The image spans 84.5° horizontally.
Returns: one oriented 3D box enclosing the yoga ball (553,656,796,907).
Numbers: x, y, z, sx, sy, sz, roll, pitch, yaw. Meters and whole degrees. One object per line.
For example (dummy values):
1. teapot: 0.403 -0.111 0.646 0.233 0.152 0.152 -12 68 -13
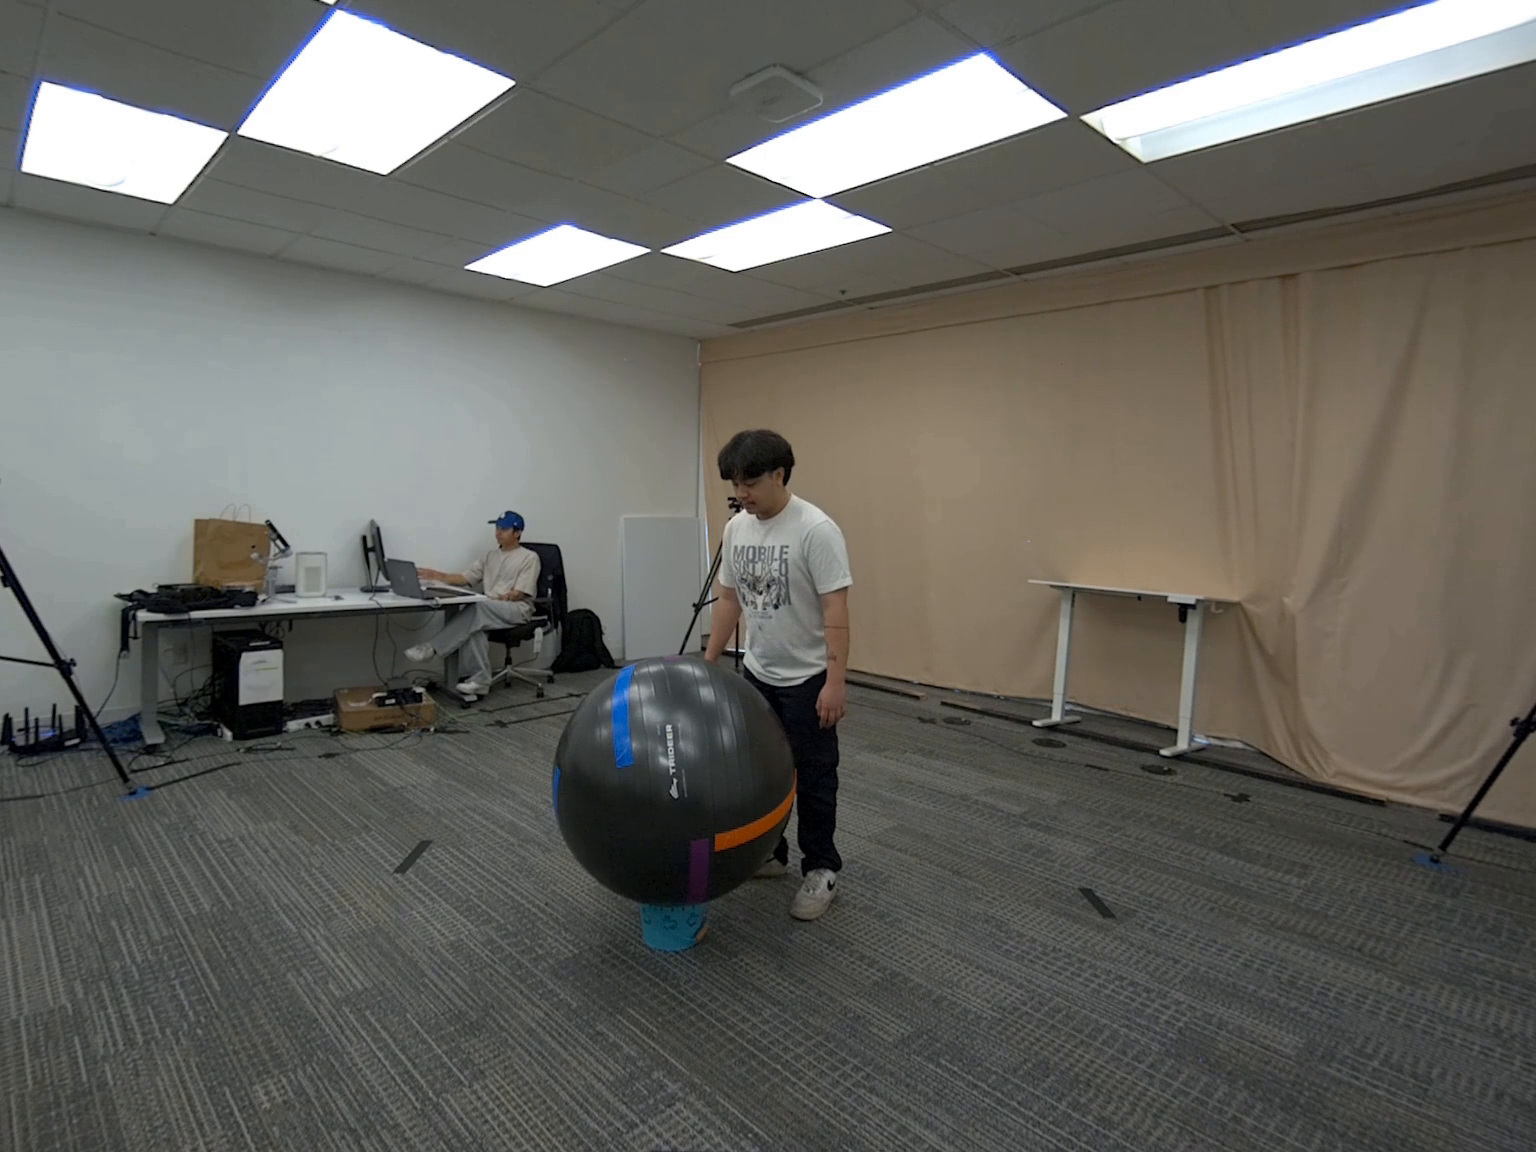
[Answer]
1. yoga ball: -0.298 0.635 2.650 0.757 0.756 0.760 1 4 -1
